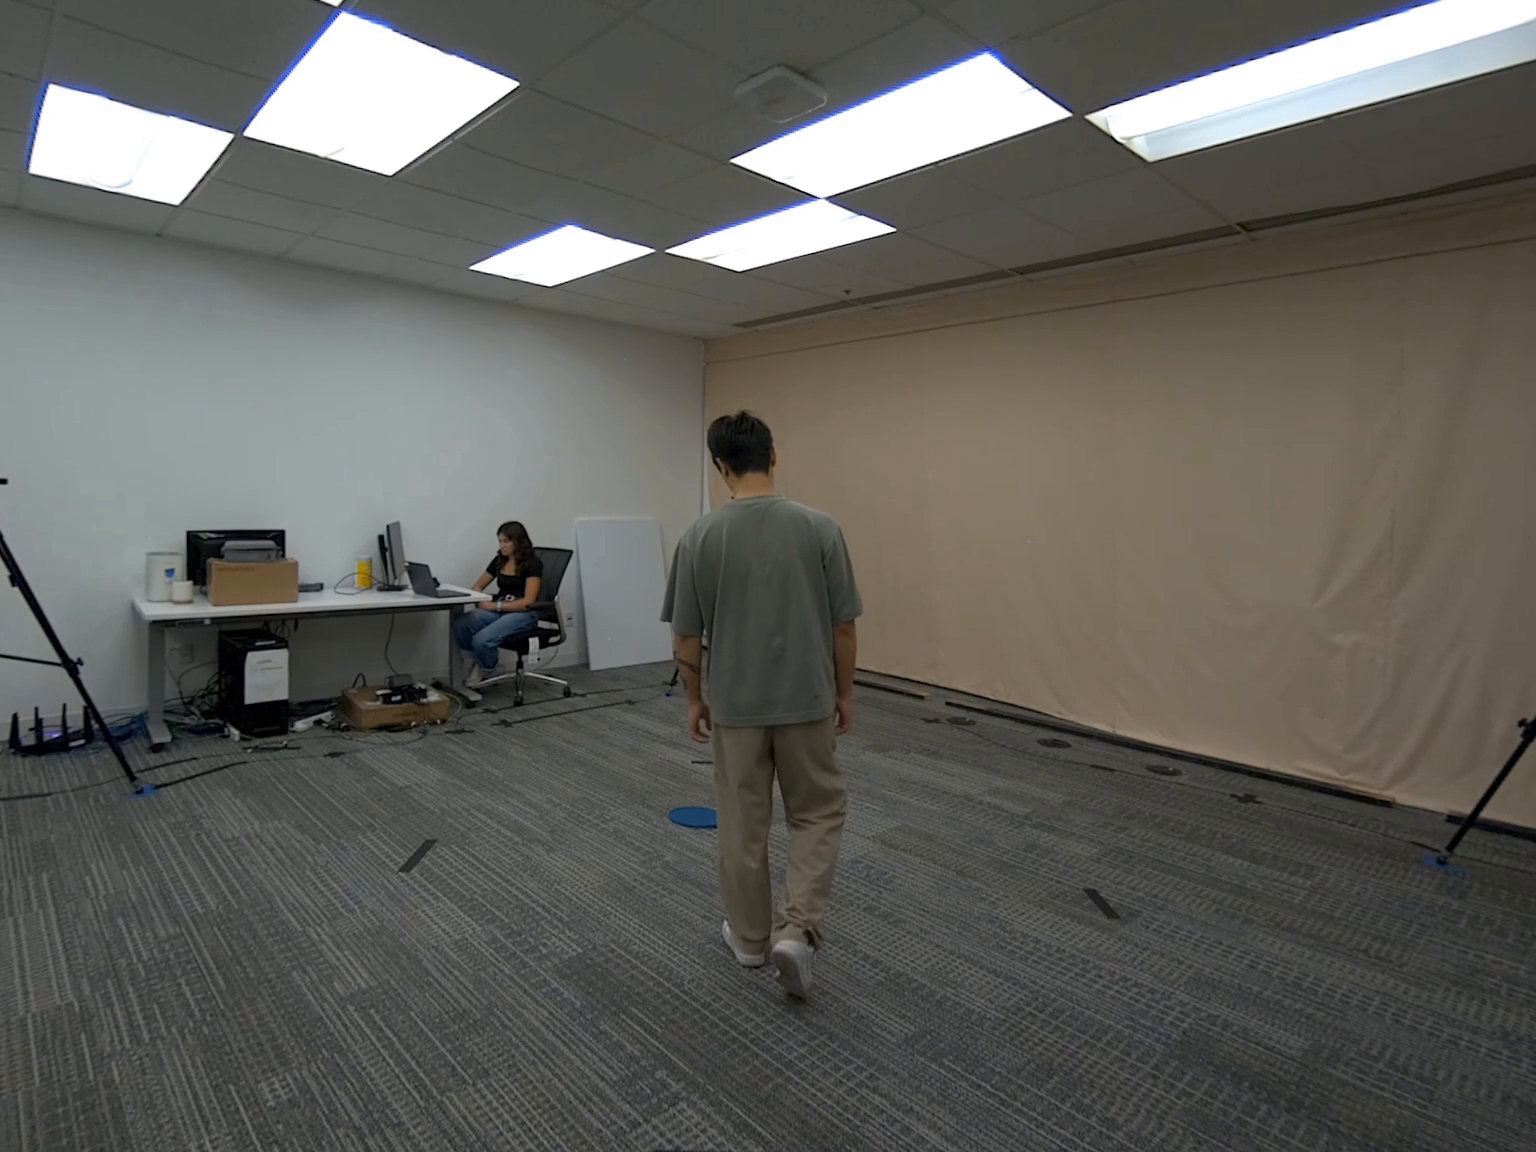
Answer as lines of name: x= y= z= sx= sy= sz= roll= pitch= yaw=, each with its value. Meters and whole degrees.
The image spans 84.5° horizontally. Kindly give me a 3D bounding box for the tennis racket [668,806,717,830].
tennis racket: x=-0.250 y=1.044 z=3.605 sx=0.443 sy=0.031 sz=0.209 roll=4 pitch=6 yaw=36
